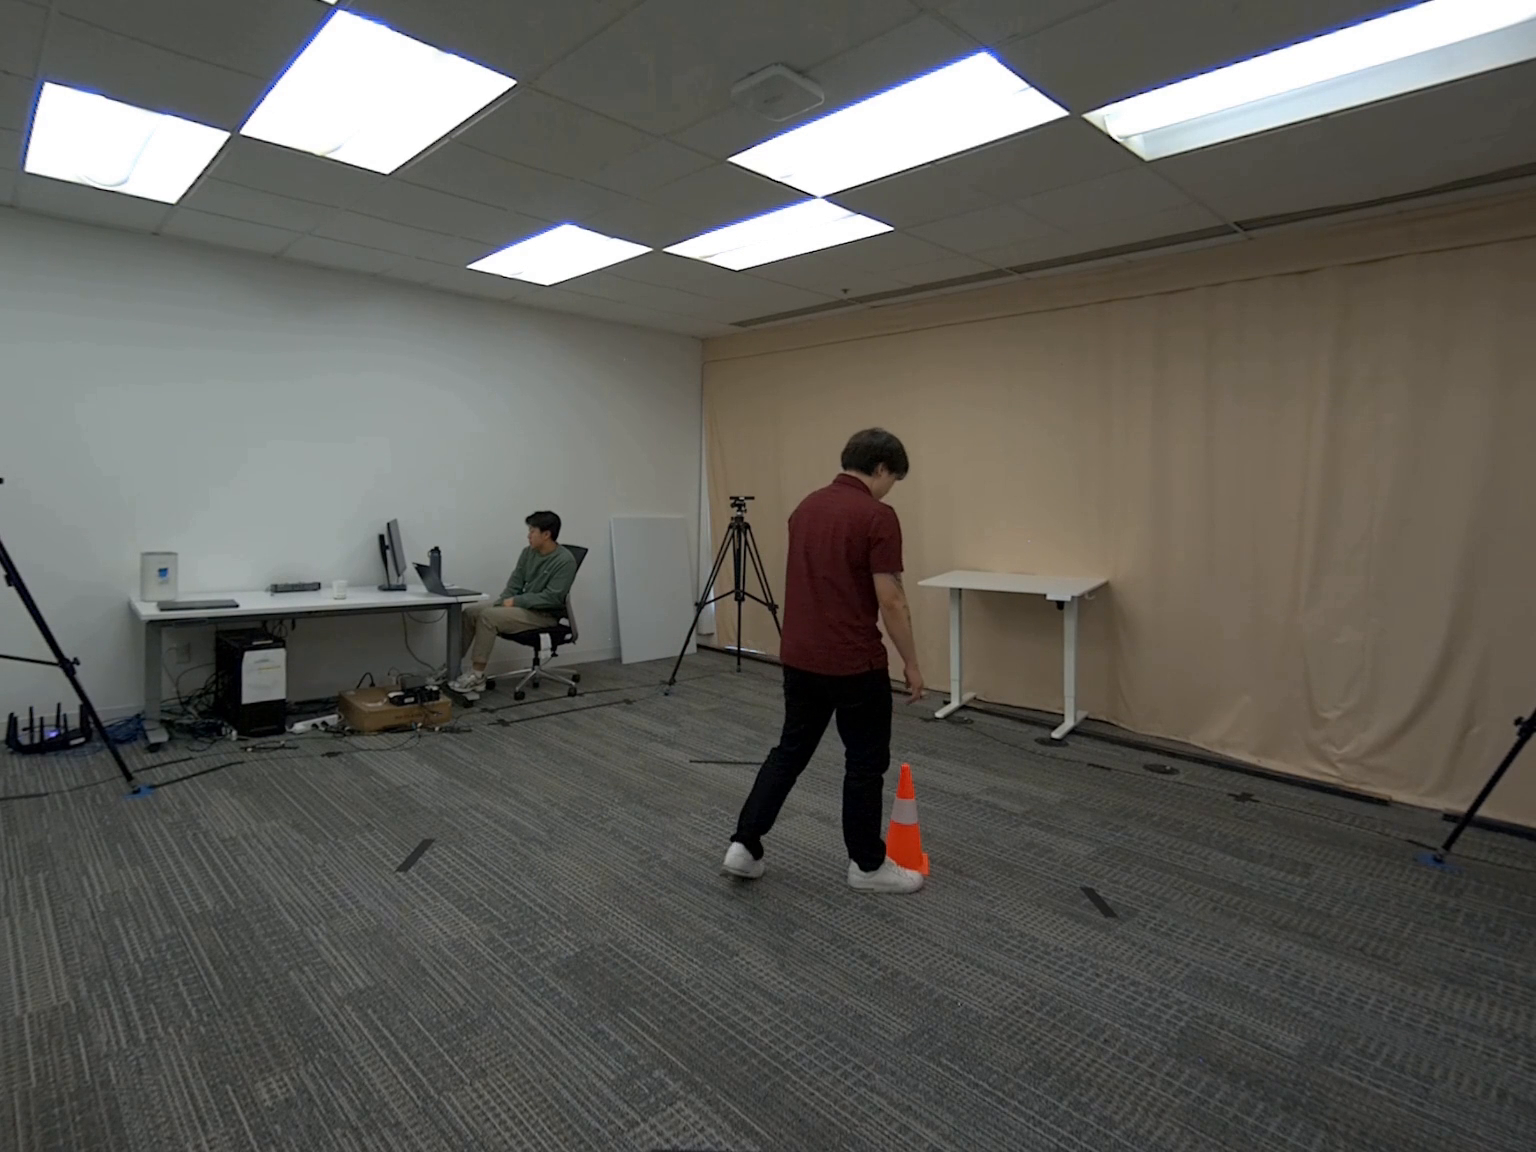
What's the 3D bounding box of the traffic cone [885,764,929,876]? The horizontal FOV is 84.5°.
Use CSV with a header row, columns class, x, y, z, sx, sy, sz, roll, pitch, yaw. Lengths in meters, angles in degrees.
class,x,y,z,sx,sy,sz,roll,pitch,yaw
traffic cone,0.522,0.920,3.259,0.206,0.383,0.202,2,2,15
